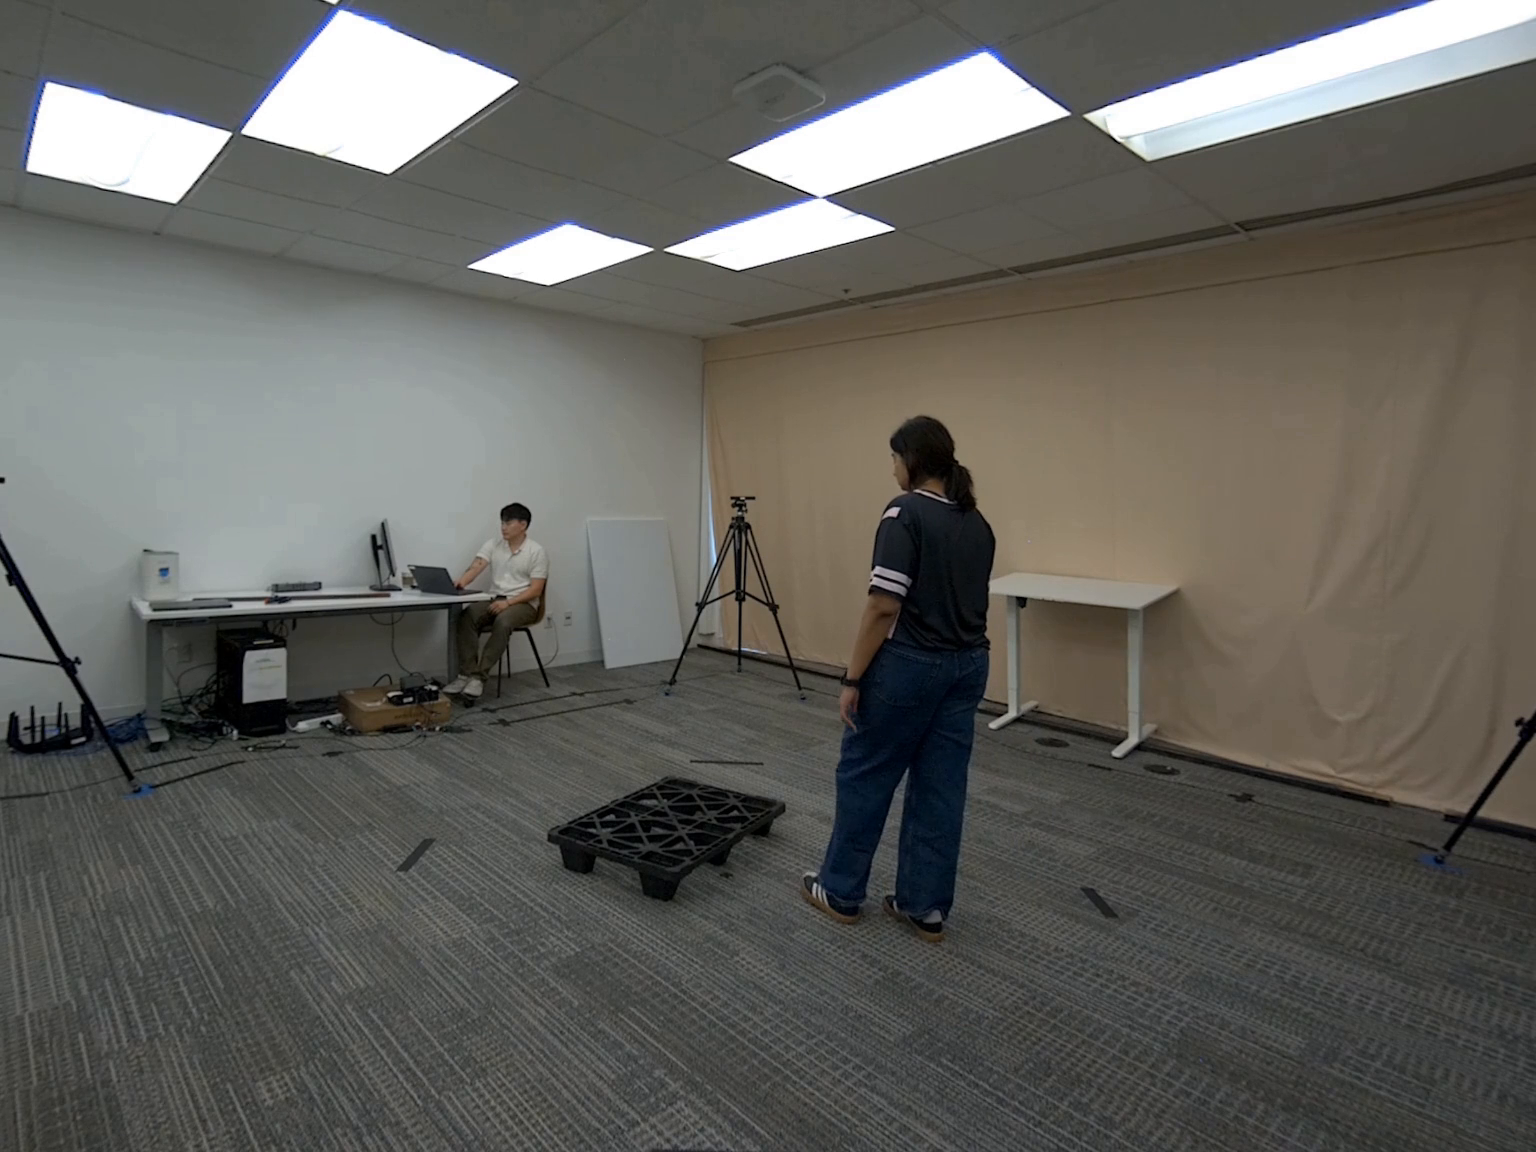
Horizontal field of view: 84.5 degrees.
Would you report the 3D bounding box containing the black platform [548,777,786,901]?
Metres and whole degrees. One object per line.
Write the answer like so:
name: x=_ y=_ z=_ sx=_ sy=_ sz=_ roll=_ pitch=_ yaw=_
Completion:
black platform: x=-0.376 y=1.011 z=3.317 sx=0.619 sy=0.143 sz=0.790 roll=5 pitch=6 yaw=30
